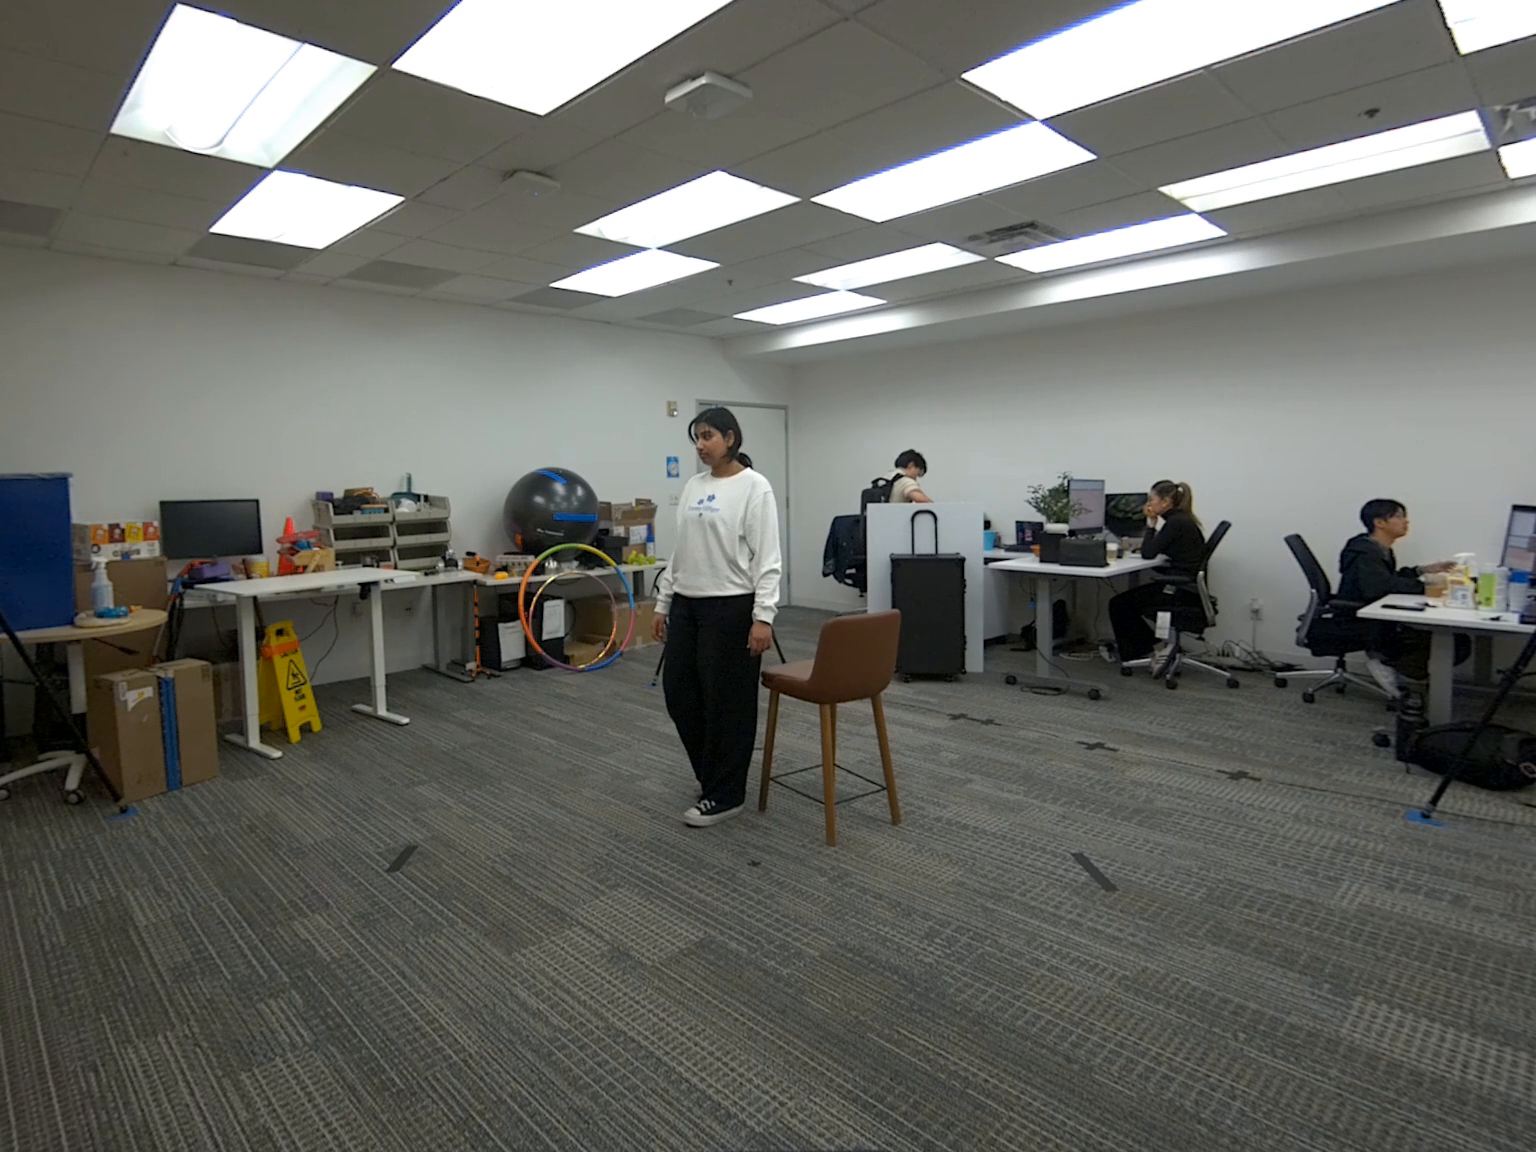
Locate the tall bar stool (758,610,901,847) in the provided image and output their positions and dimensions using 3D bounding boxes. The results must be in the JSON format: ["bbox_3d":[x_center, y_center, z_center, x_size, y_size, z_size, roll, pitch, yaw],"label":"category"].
[{"bbox_3d":[0.252,0.559,3.497,0.445,0.885,0.482,-3,7,-36],"label":"tall bar stool"}]
